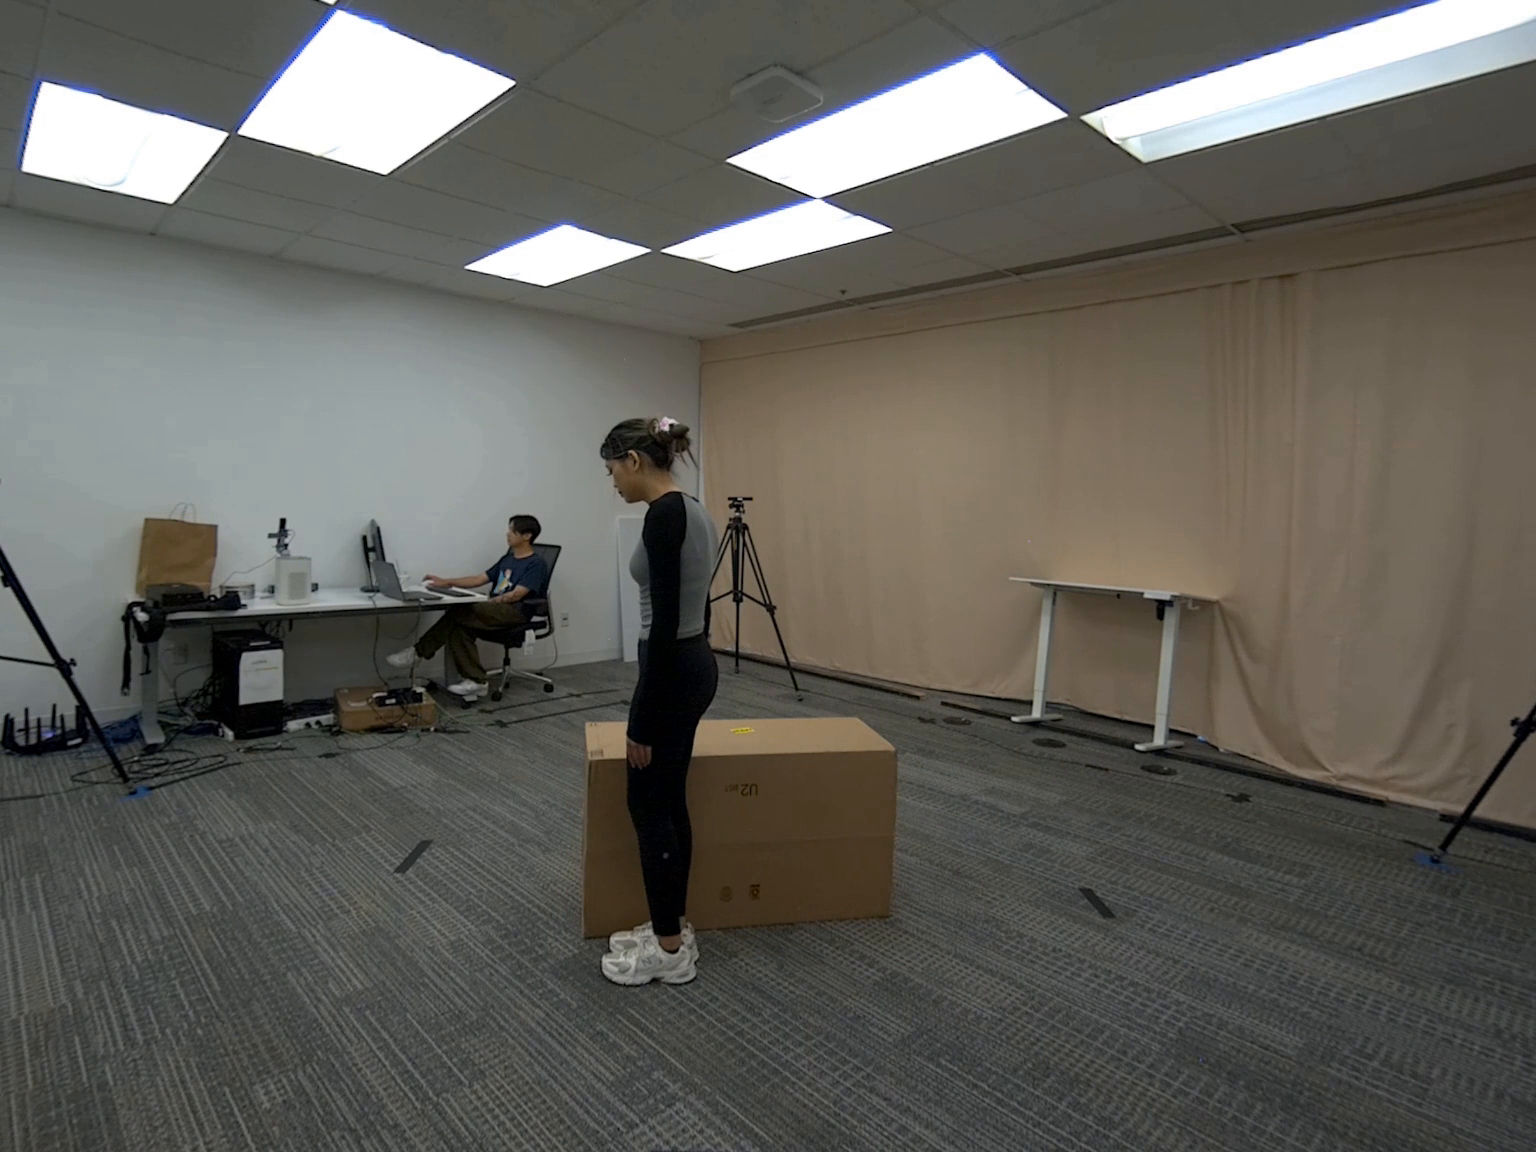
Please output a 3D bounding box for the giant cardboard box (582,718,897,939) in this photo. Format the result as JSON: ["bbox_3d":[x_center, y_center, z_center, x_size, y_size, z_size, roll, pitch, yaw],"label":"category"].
[{"bbox_3d":[-0.123,0.835,2.923,1.016,0.576,0.431,1,5,-11],"label":"giant cardboard box"}]
